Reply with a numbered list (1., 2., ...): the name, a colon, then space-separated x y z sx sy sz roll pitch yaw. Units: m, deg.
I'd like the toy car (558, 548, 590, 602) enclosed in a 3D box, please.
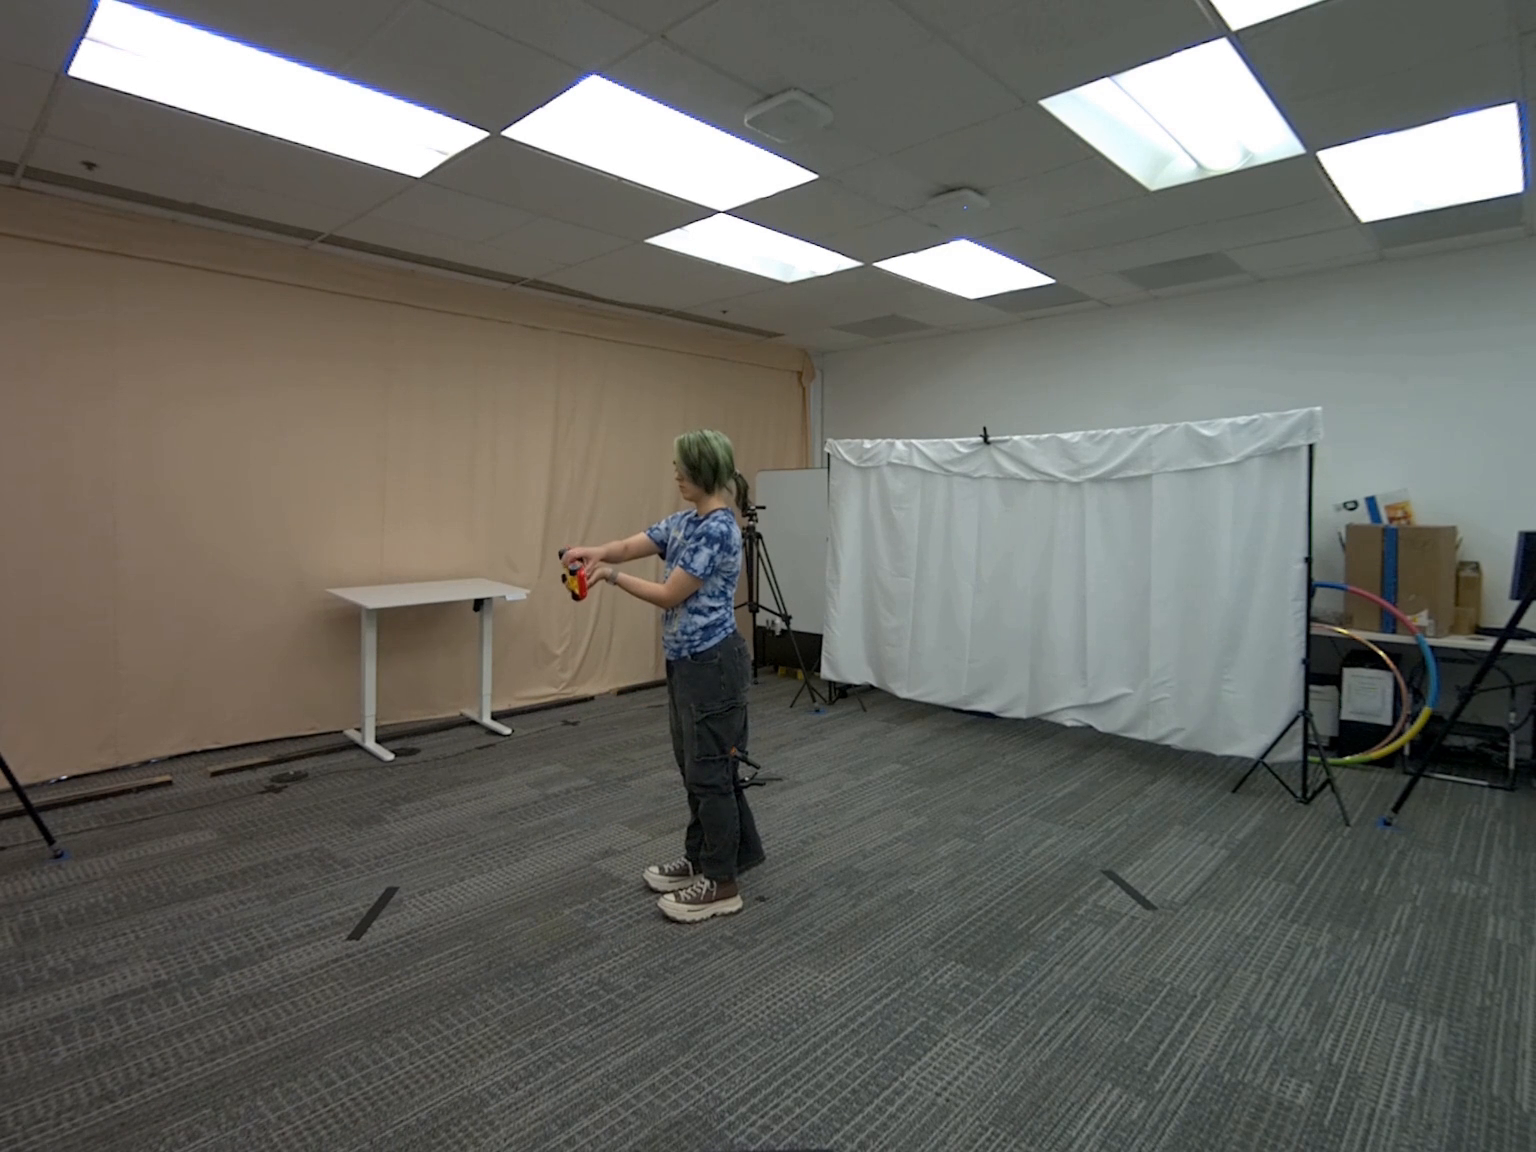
1. toy car: -0.644 -0.015 2.795 0.082 0.128 0.261 -7 23 -11
